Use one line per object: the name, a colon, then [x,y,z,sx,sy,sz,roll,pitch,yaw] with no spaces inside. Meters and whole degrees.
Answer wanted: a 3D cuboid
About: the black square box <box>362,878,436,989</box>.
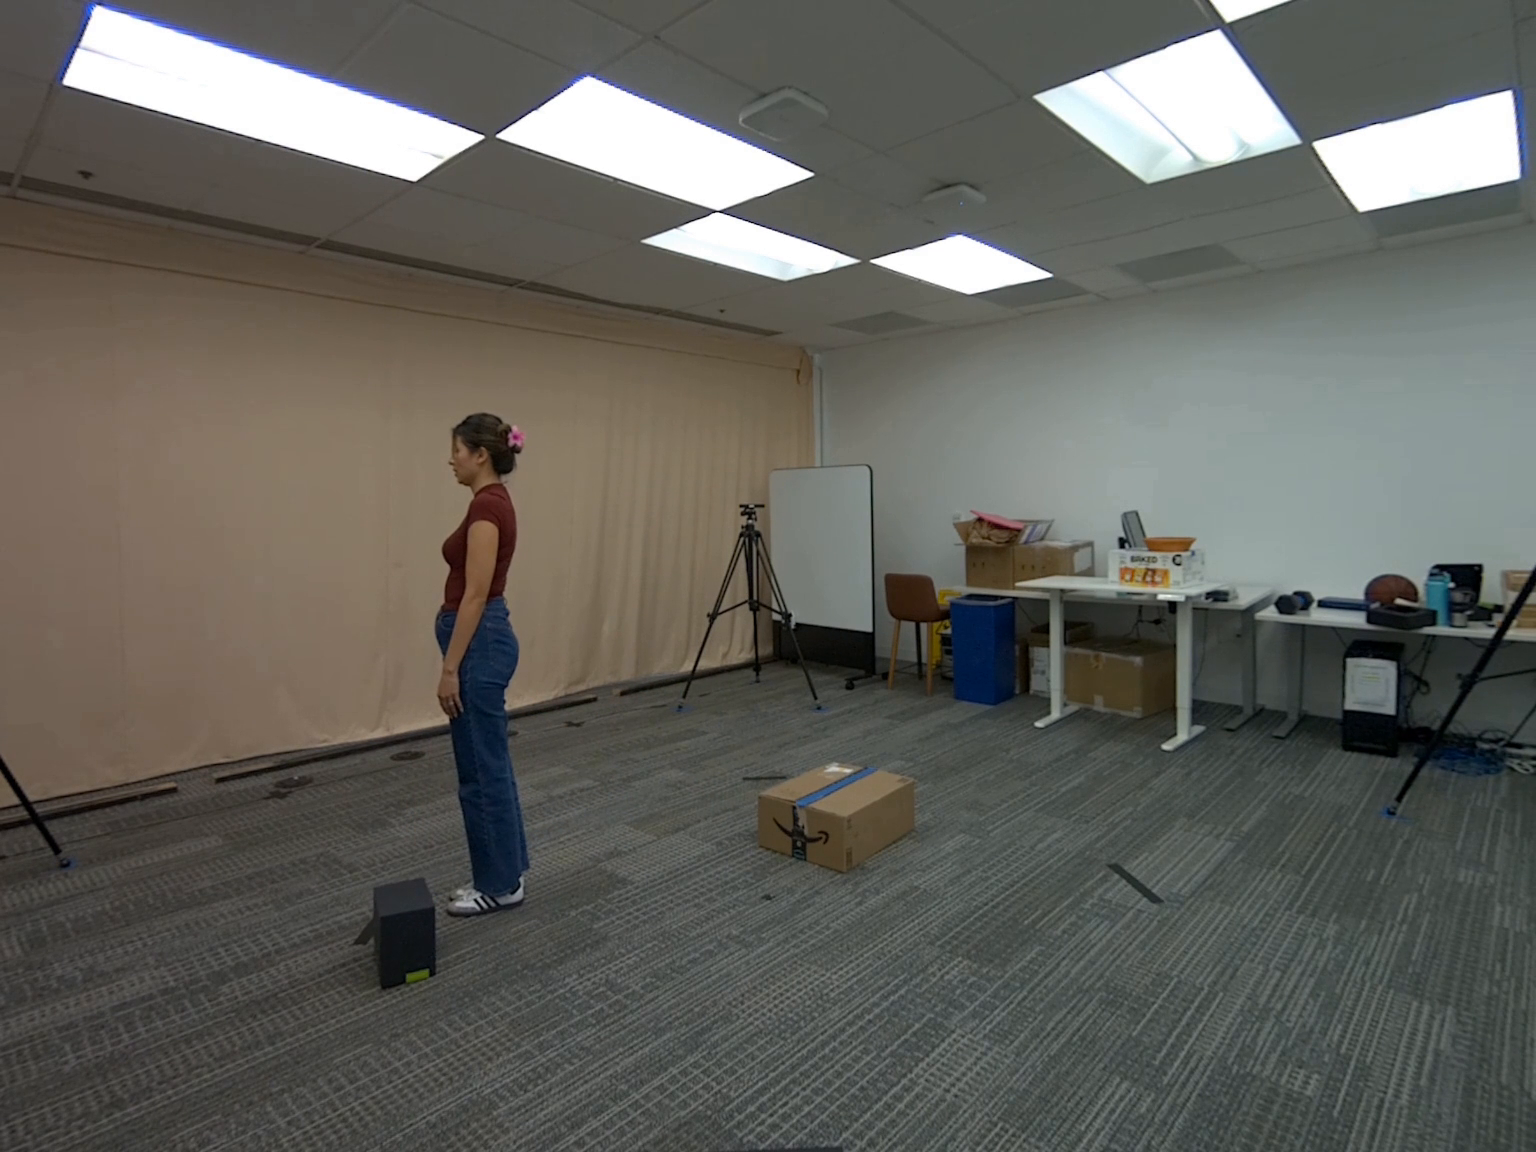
black square box: [-1.117,1.080,2.584,0.152,0.216,0.234,-1,5,-30]
